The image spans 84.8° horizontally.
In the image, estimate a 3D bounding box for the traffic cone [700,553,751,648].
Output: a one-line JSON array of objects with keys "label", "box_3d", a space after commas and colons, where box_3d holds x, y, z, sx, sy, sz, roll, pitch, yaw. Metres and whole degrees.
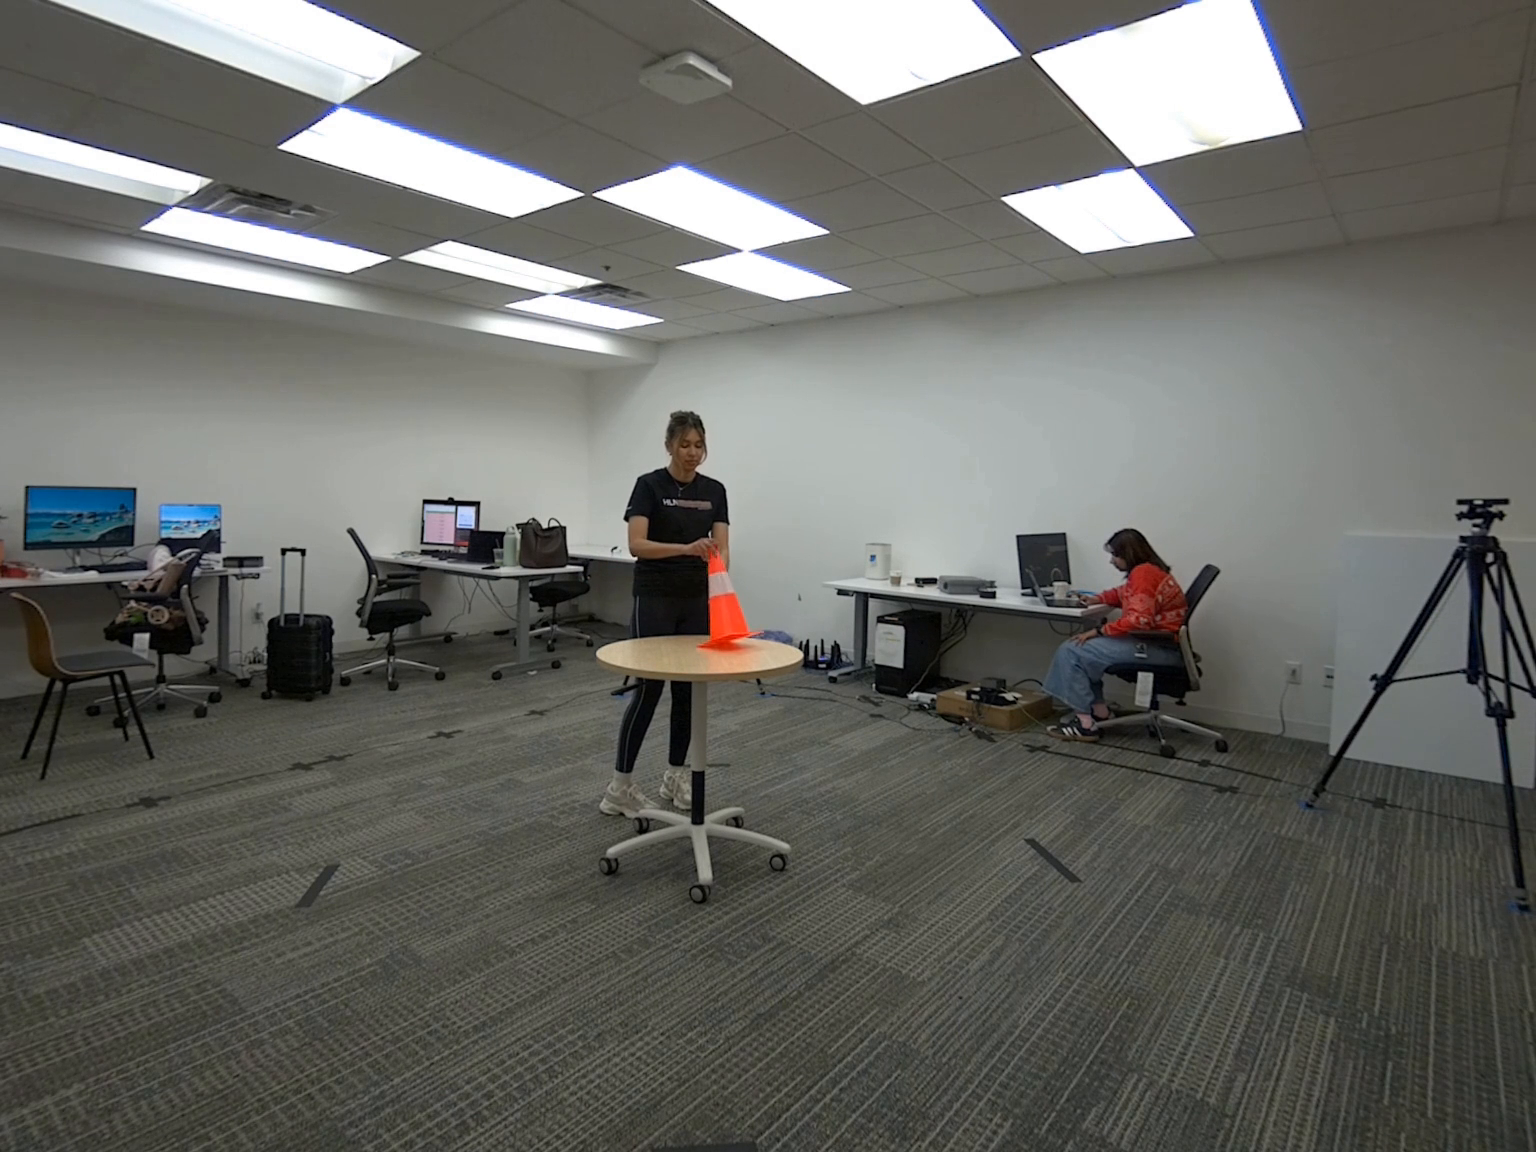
[{"label": "traffic cone", "box_3d": [-0.199, 0.054, 3.320, 0.198, 0.389, 0.207, 0, -14, -42]}]
